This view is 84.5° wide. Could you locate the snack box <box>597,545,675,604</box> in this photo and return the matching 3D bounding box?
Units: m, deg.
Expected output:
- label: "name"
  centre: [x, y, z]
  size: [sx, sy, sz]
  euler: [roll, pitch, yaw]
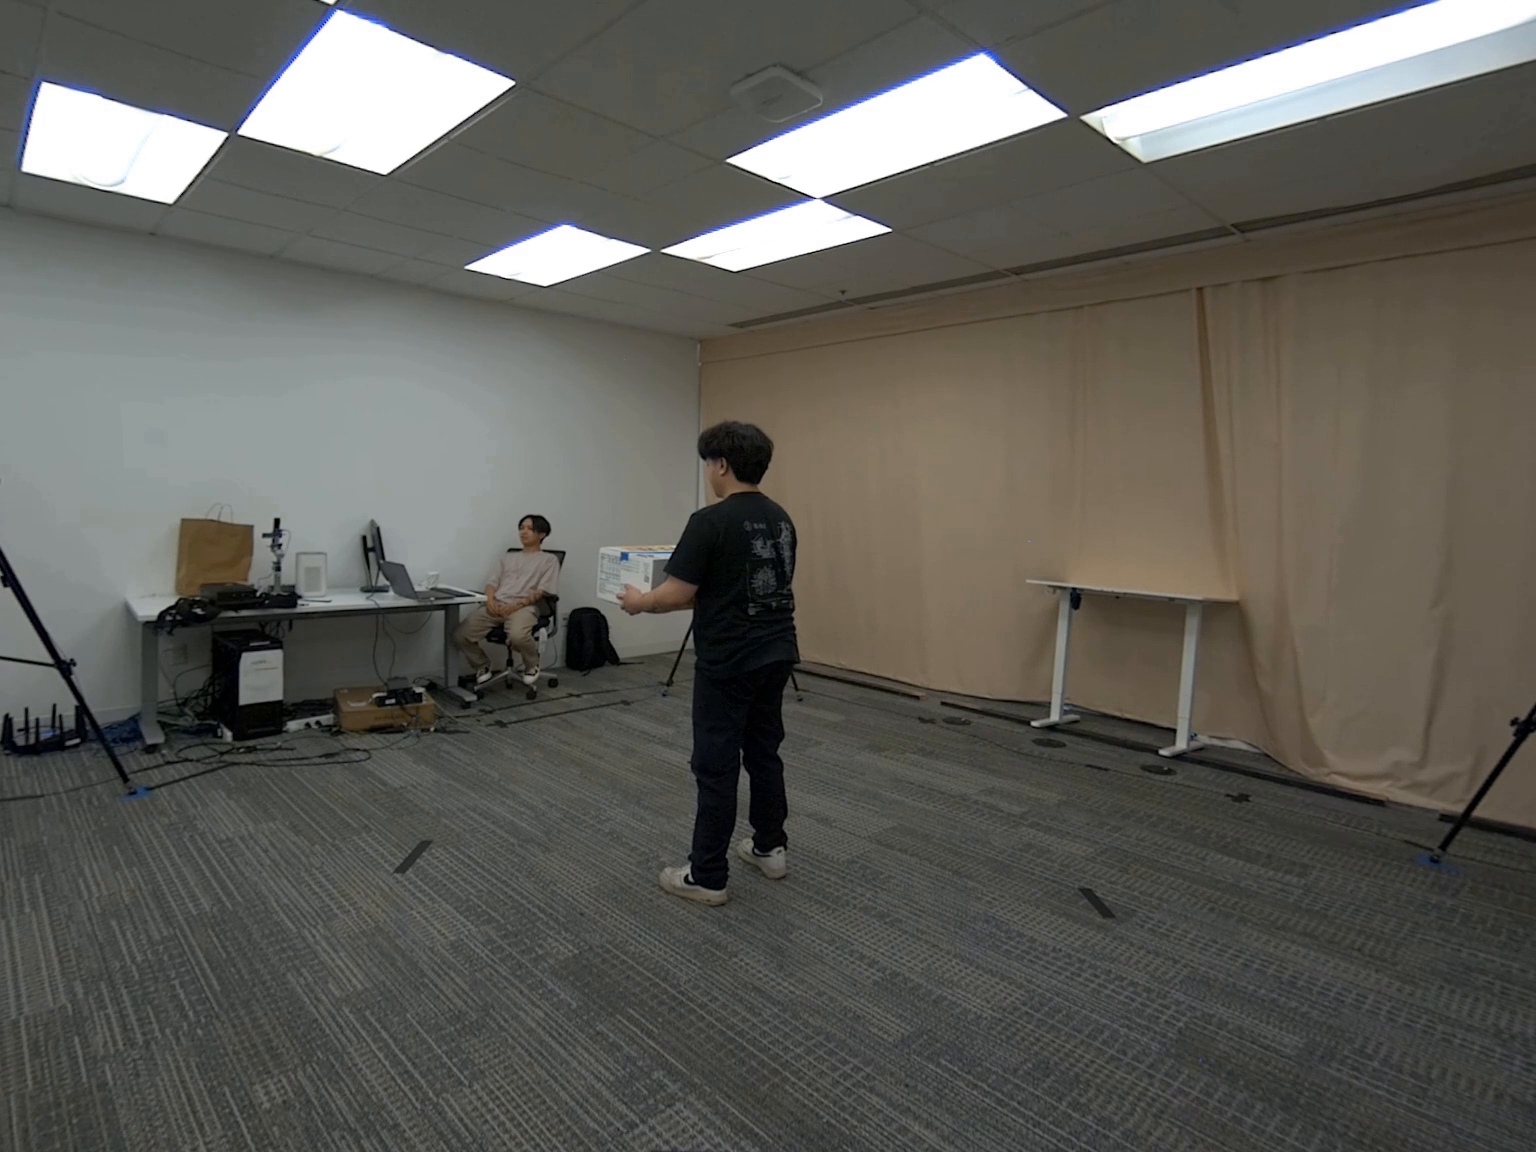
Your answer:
- label: "snack box"
  centre: [-0.403, 0.003, 3.303]
  size: [0.396, 0.205, 0.350]
  euler: [-4, 11, -45]
